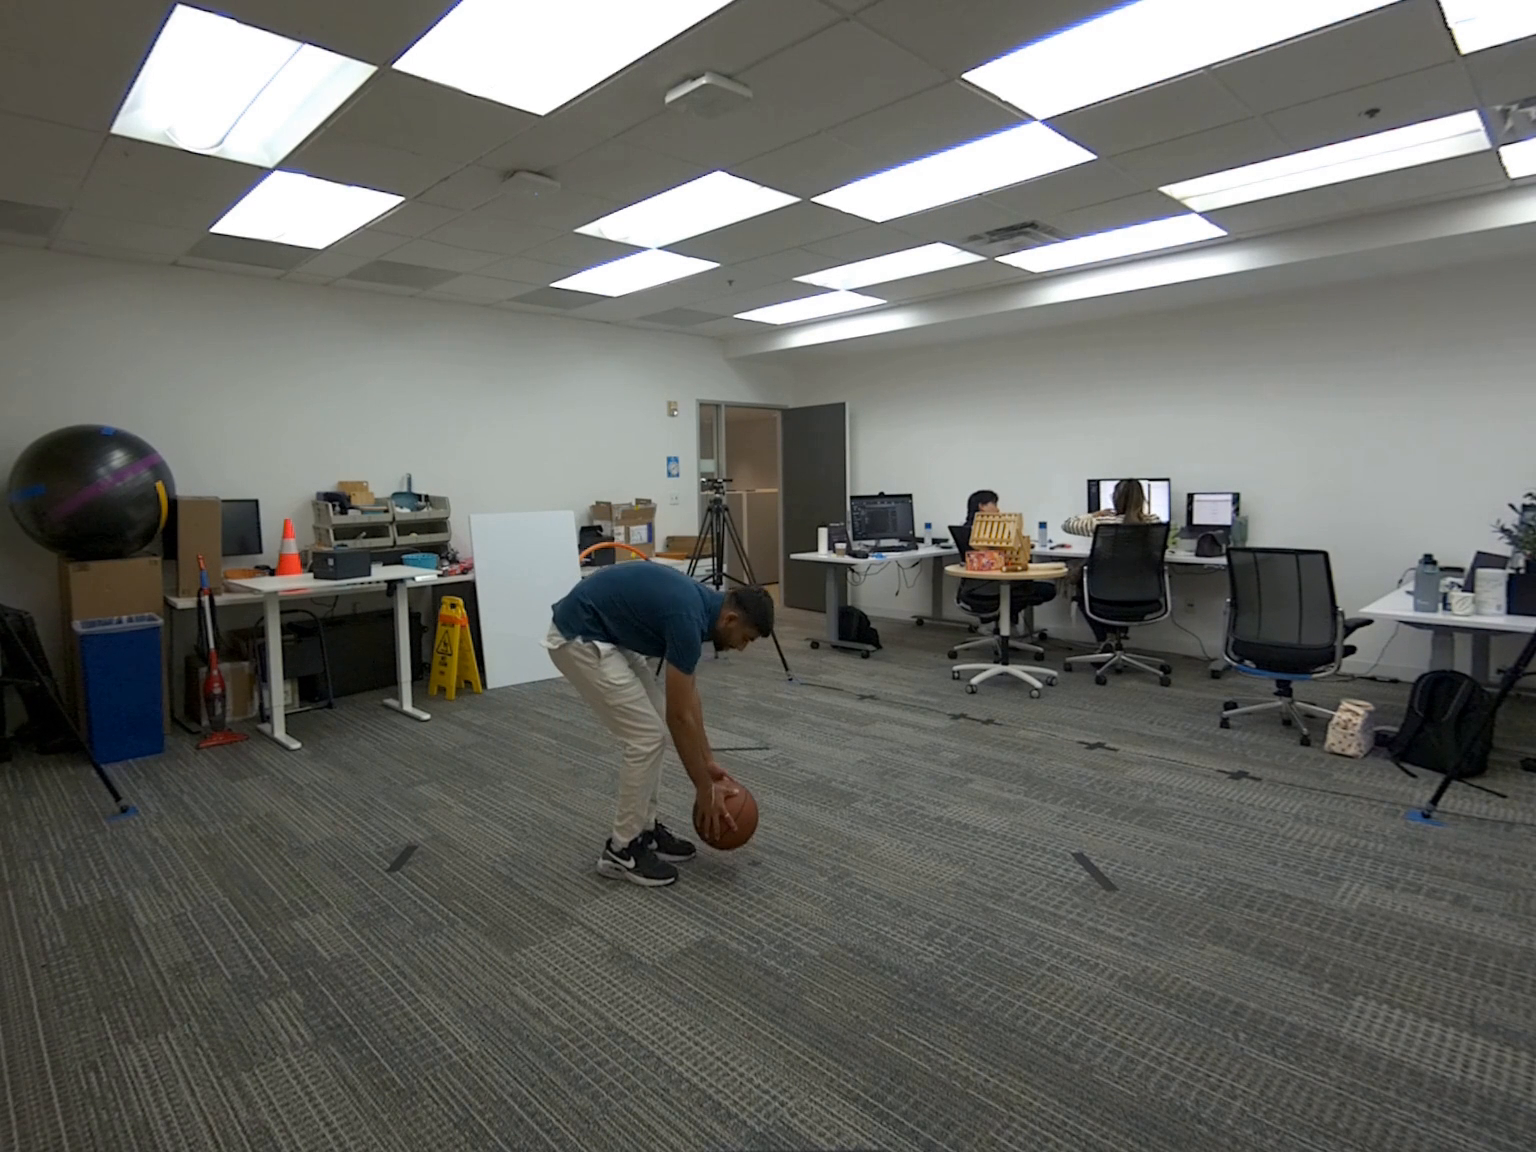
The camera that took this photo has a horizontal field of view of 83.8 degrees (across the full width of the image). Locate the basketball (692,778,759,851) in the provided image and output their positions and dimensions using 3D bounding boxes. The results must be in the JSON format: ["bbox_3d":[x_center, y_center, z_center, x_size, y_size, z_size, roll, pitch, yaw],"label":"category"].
[{"bbox_3d":[-0.151,0.821,3.065,0.236,0.235,0.237,-1,5,-2],"label":"basketball"}]
